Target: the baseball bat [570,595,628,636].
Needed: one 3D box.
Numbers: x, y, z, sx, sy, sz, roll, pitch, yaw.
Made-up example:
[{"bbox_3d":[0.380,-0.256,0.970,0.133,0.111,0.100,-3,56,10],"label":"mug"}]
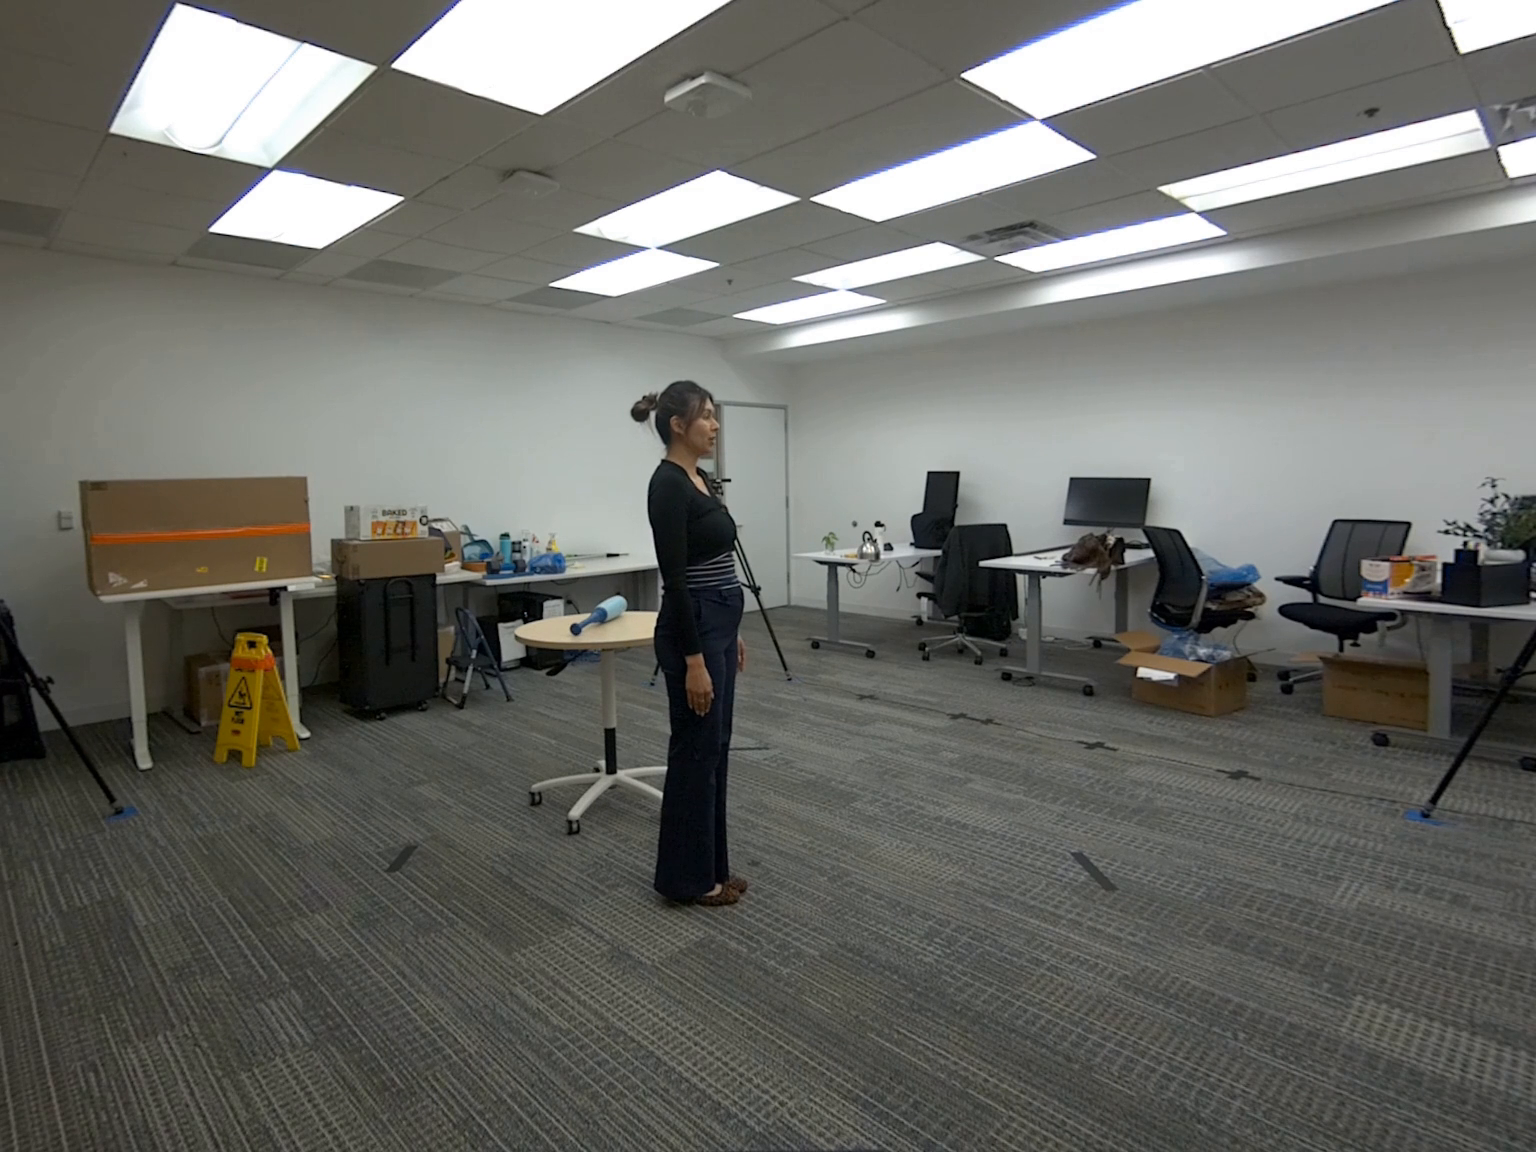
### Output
[{"bbox_3d":[-0.733,0.173,3.686,0.090,0.088,0.541,0,8,9],"label":"baseball bat"}]
